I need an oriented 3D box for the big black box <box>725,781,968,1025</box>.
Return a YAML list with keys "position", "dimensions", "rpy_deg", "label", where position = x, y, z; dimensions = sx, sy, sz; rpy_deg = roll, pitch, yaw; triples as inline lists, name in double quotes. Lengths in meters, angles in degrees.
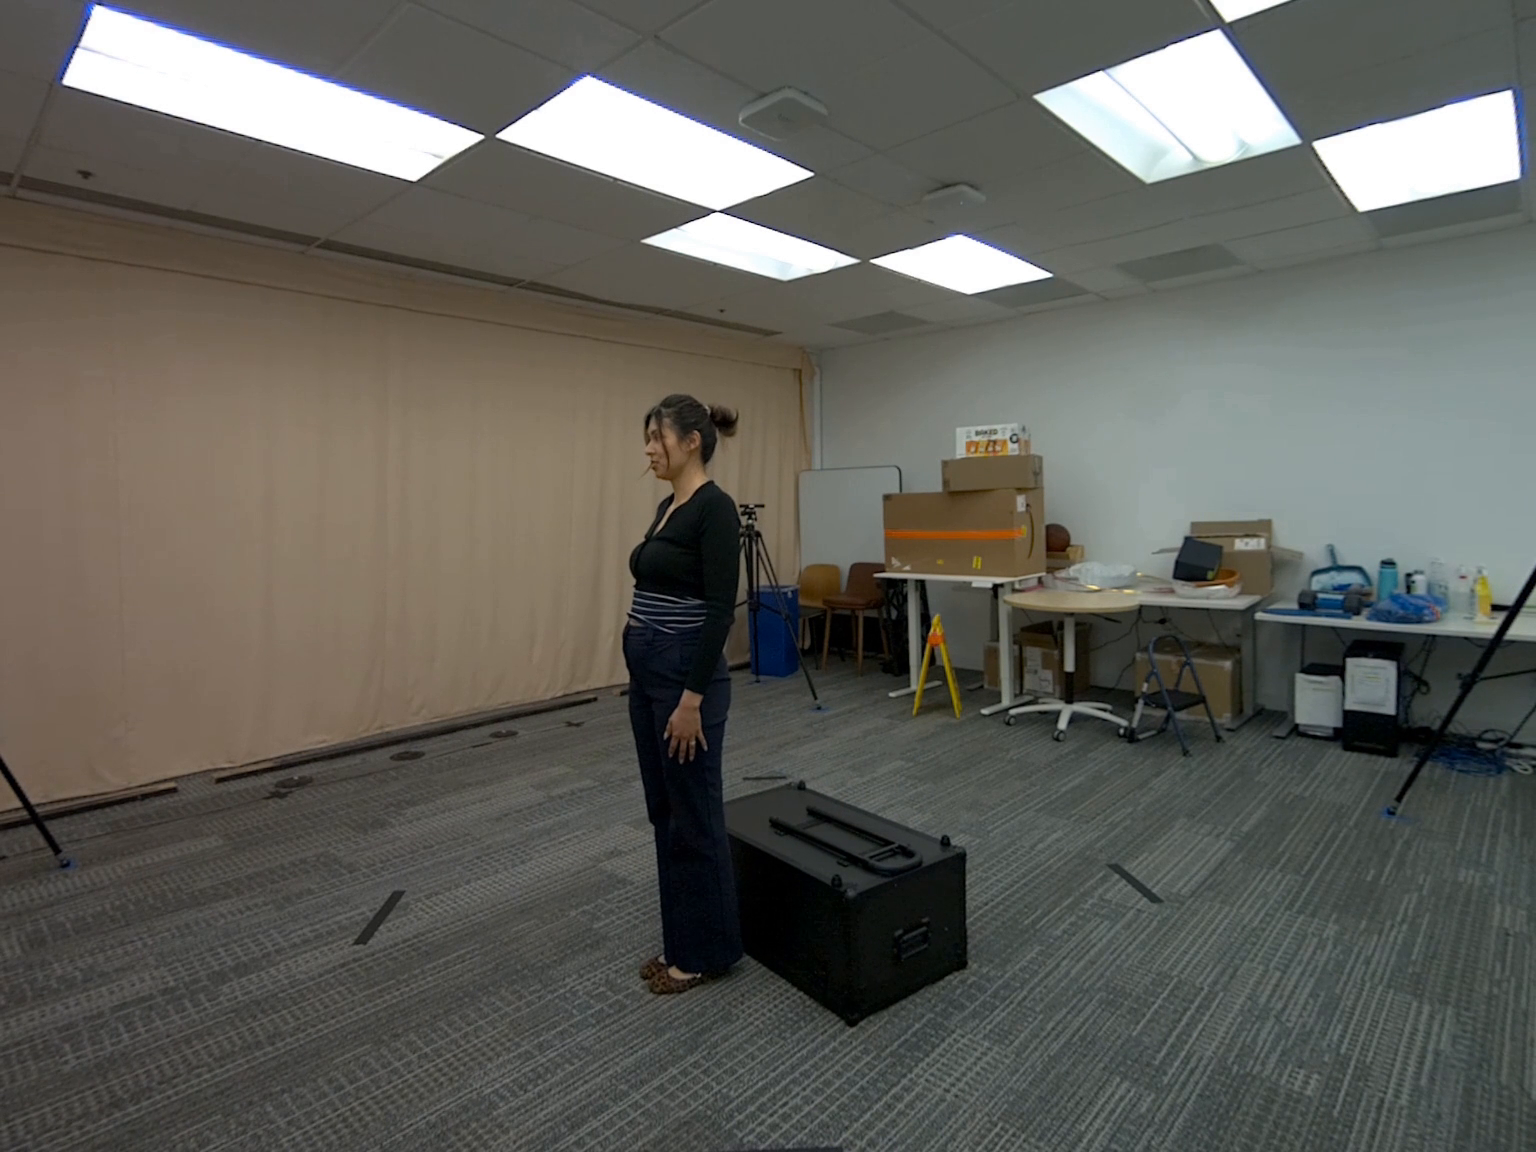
- position: [0.180, 0.989, 2.655]
  dimensions: [0.506, 0.395, 0.889]
  rpy_deg: [-4, 5, -37]
  label: "big black box"
